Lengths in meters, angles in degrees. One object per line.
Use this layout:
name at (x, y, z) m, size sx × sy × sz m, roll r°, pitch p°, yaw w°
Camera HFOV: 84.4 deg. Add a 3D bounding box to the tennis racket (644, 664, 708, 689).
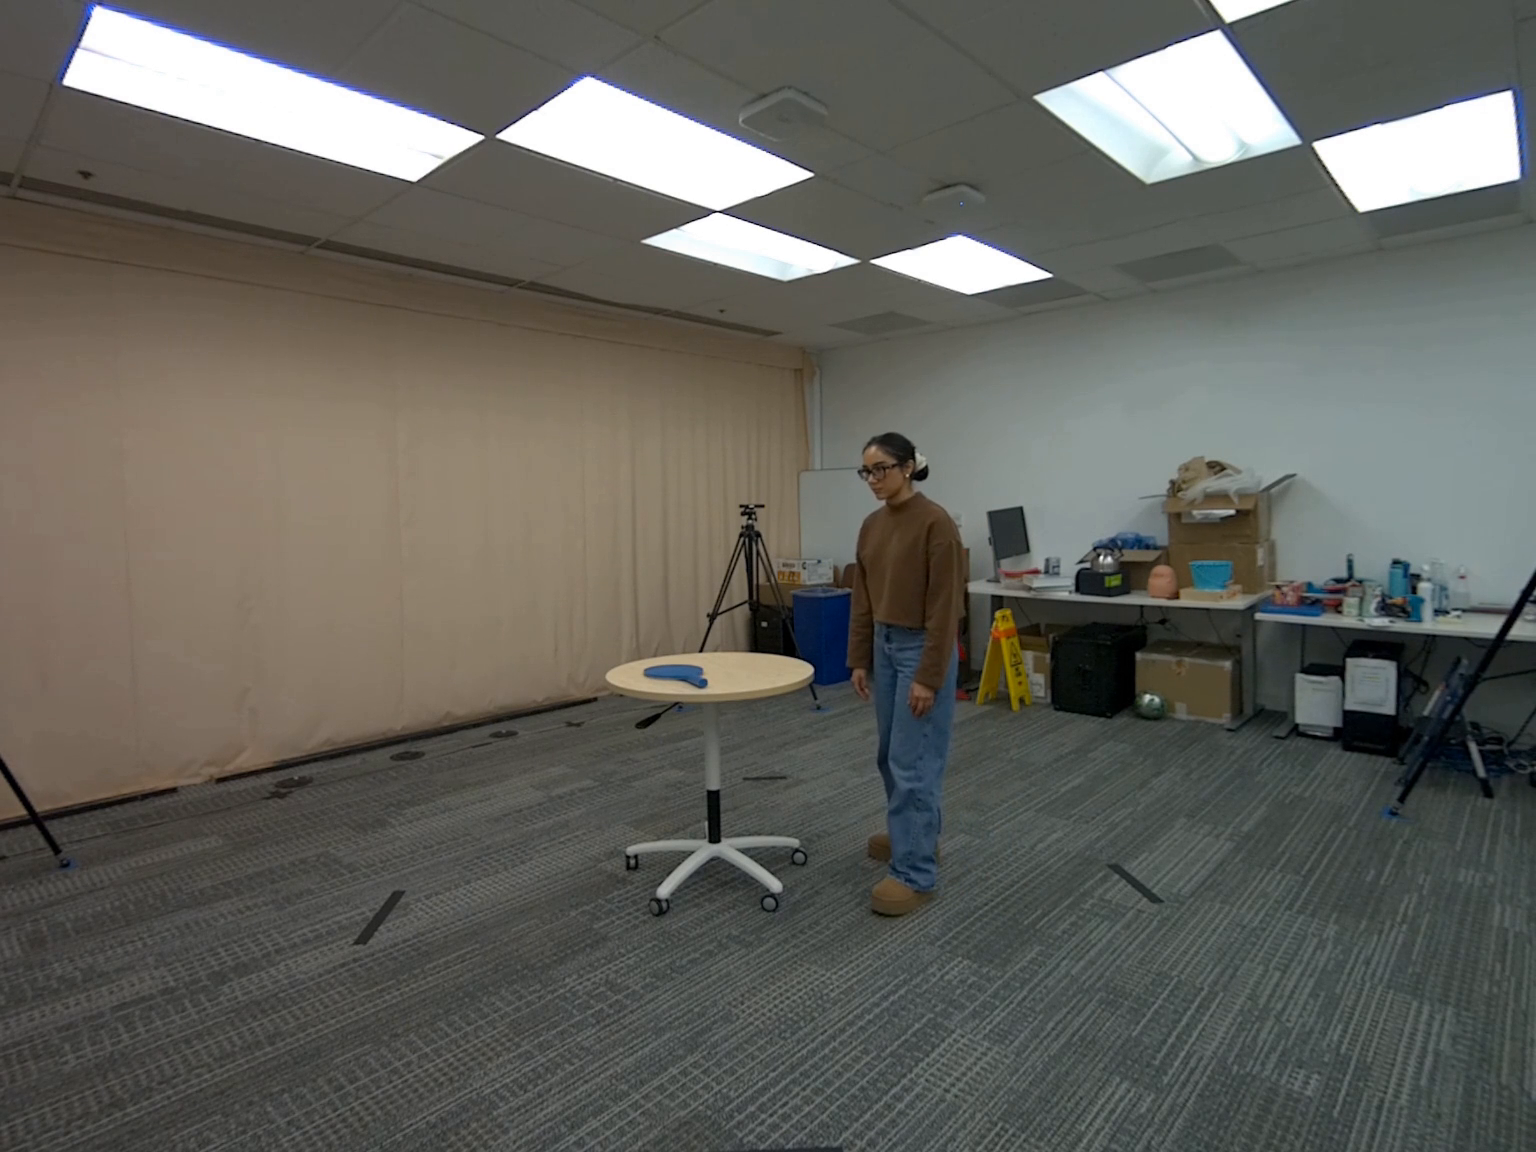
tennis racket at (-0.305, 0.351, 3.014) m, size 0.209 × 0.032 × 0.444 m, roll -5°, pitch 4°, yaw -27°
